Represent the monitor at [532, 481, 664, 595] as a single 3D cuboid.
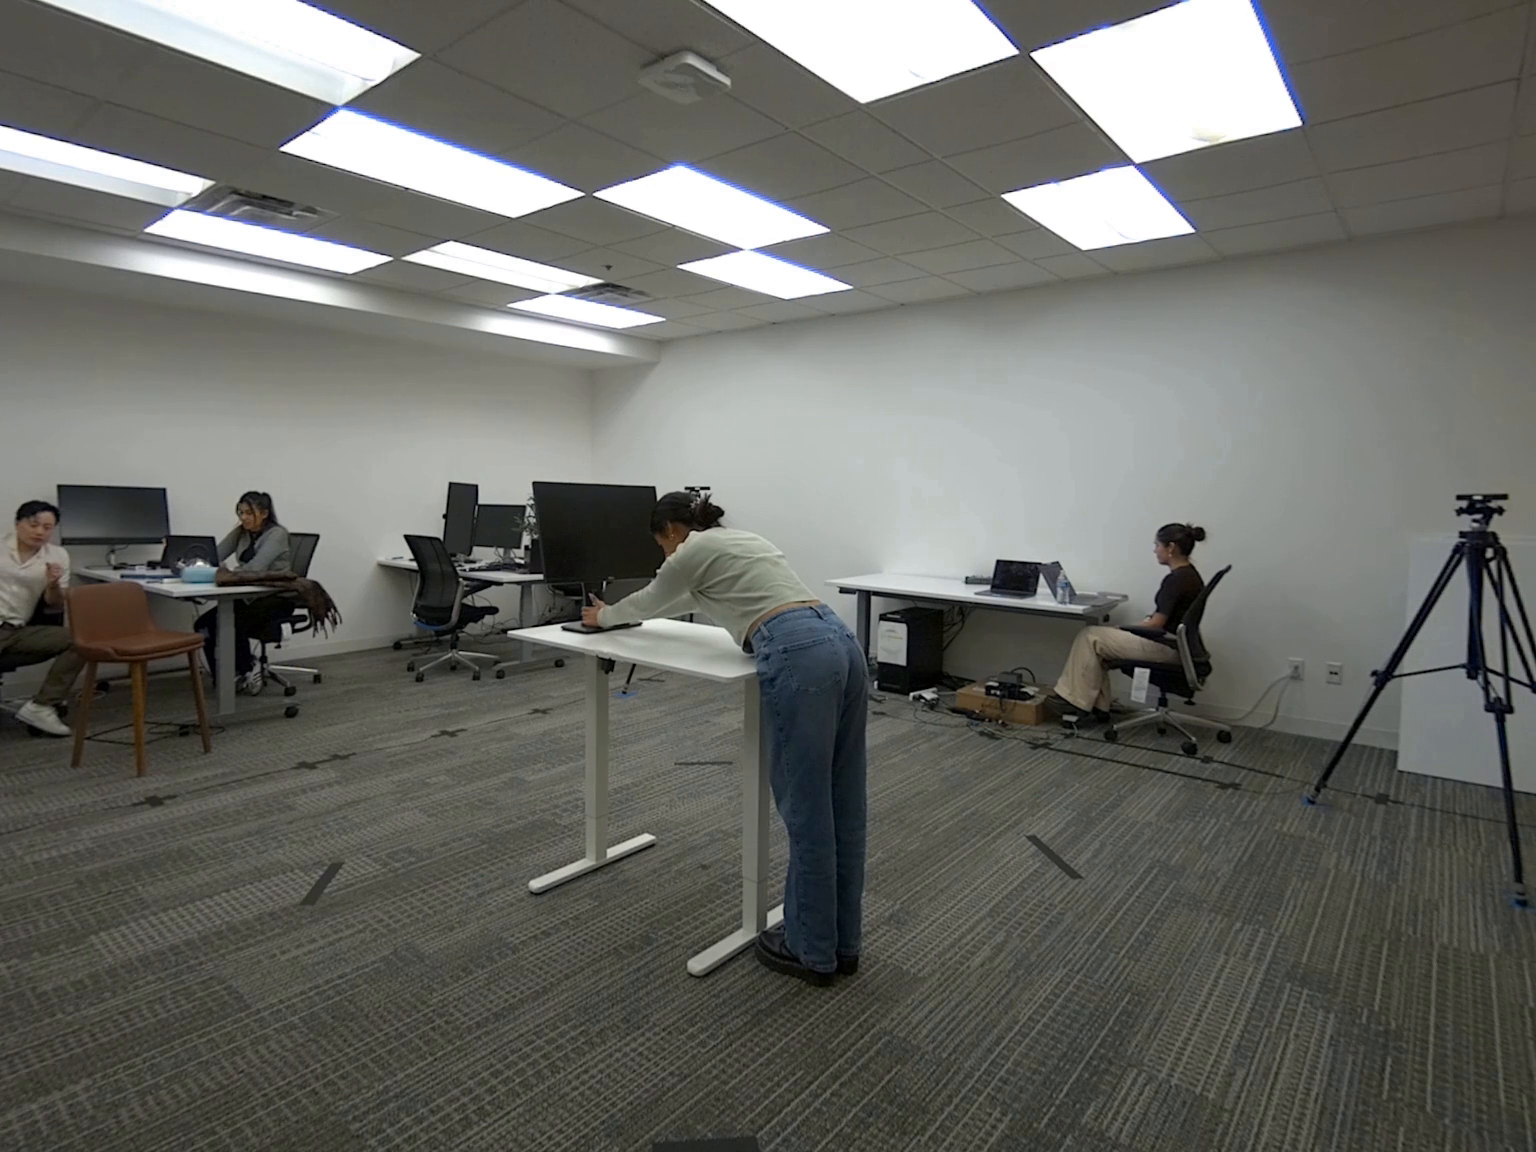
[{"bbox_3d":[-0.628,-0.072,3.038,0.193,0.522,0.522,0,1,42],"label":"monitor"}]
